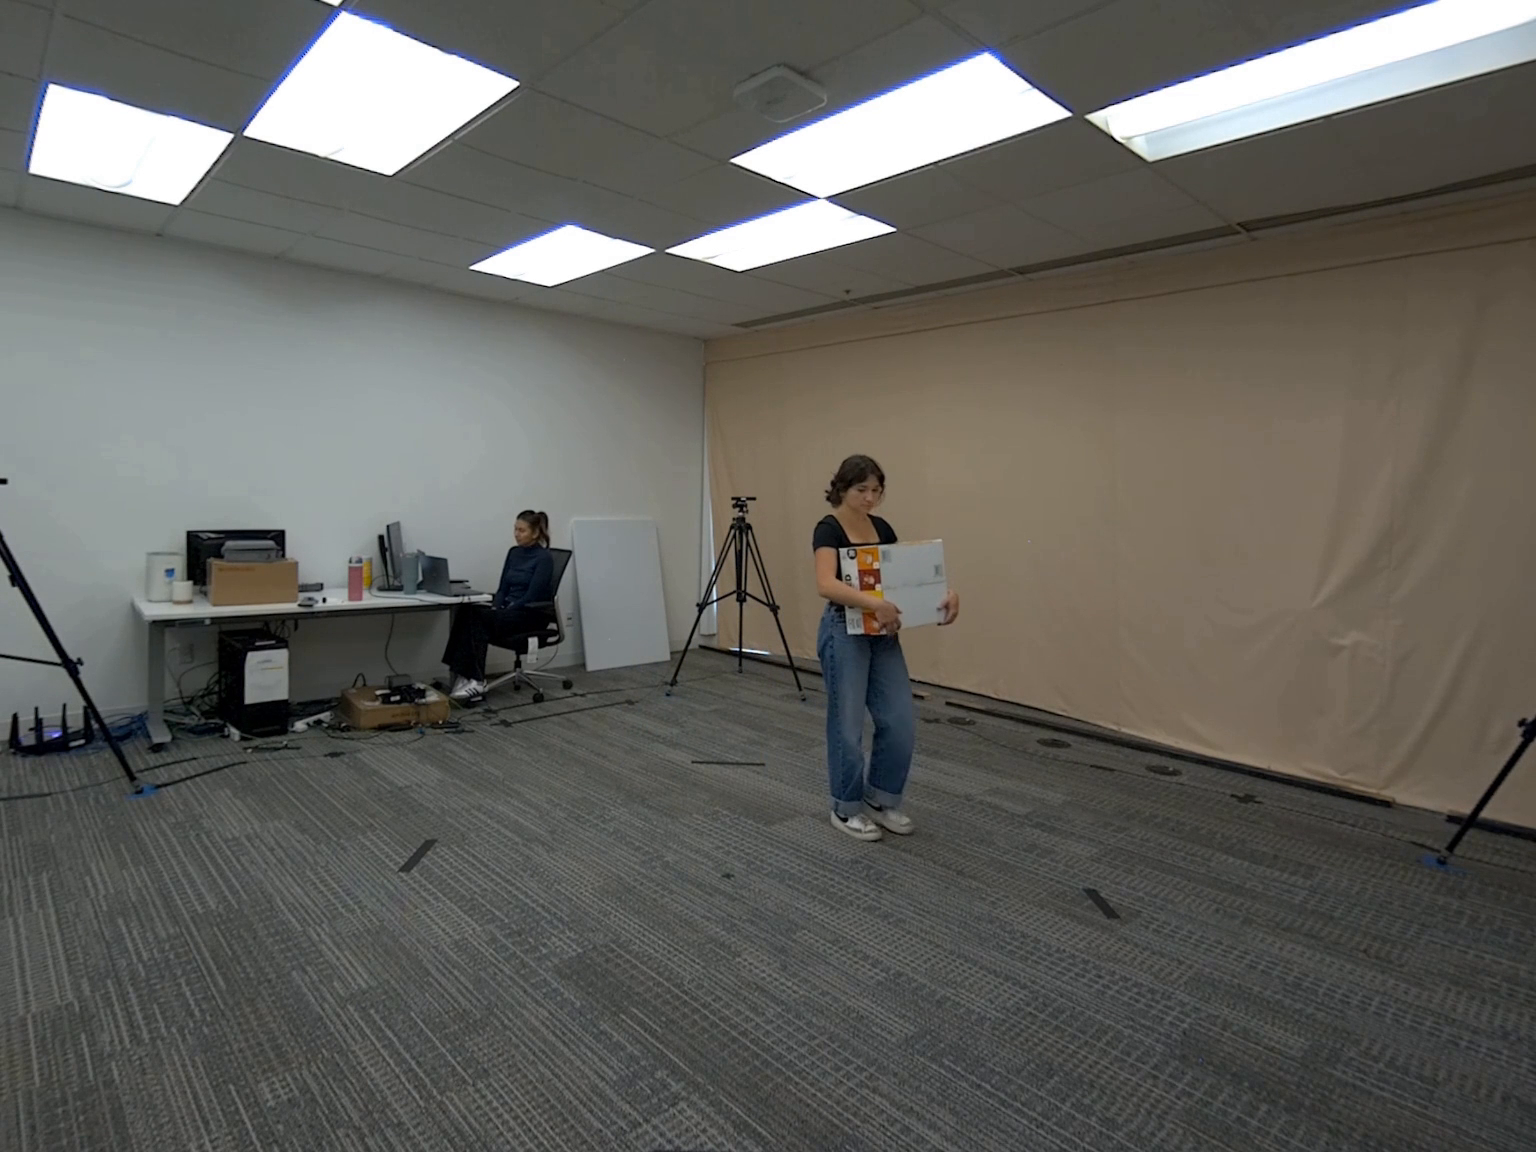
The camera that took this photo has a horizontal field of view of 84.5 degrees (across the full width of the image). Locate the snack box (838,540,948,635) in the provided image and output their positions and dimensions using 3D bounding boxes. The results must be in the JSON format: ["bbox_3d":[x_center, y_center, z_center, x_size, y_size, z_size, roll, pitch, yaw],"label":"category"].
[{"bbox_3d":[0.502,0.039,3.382,0.396,0.340,0.210,-6,1,-40],"label":"snack box"}]
